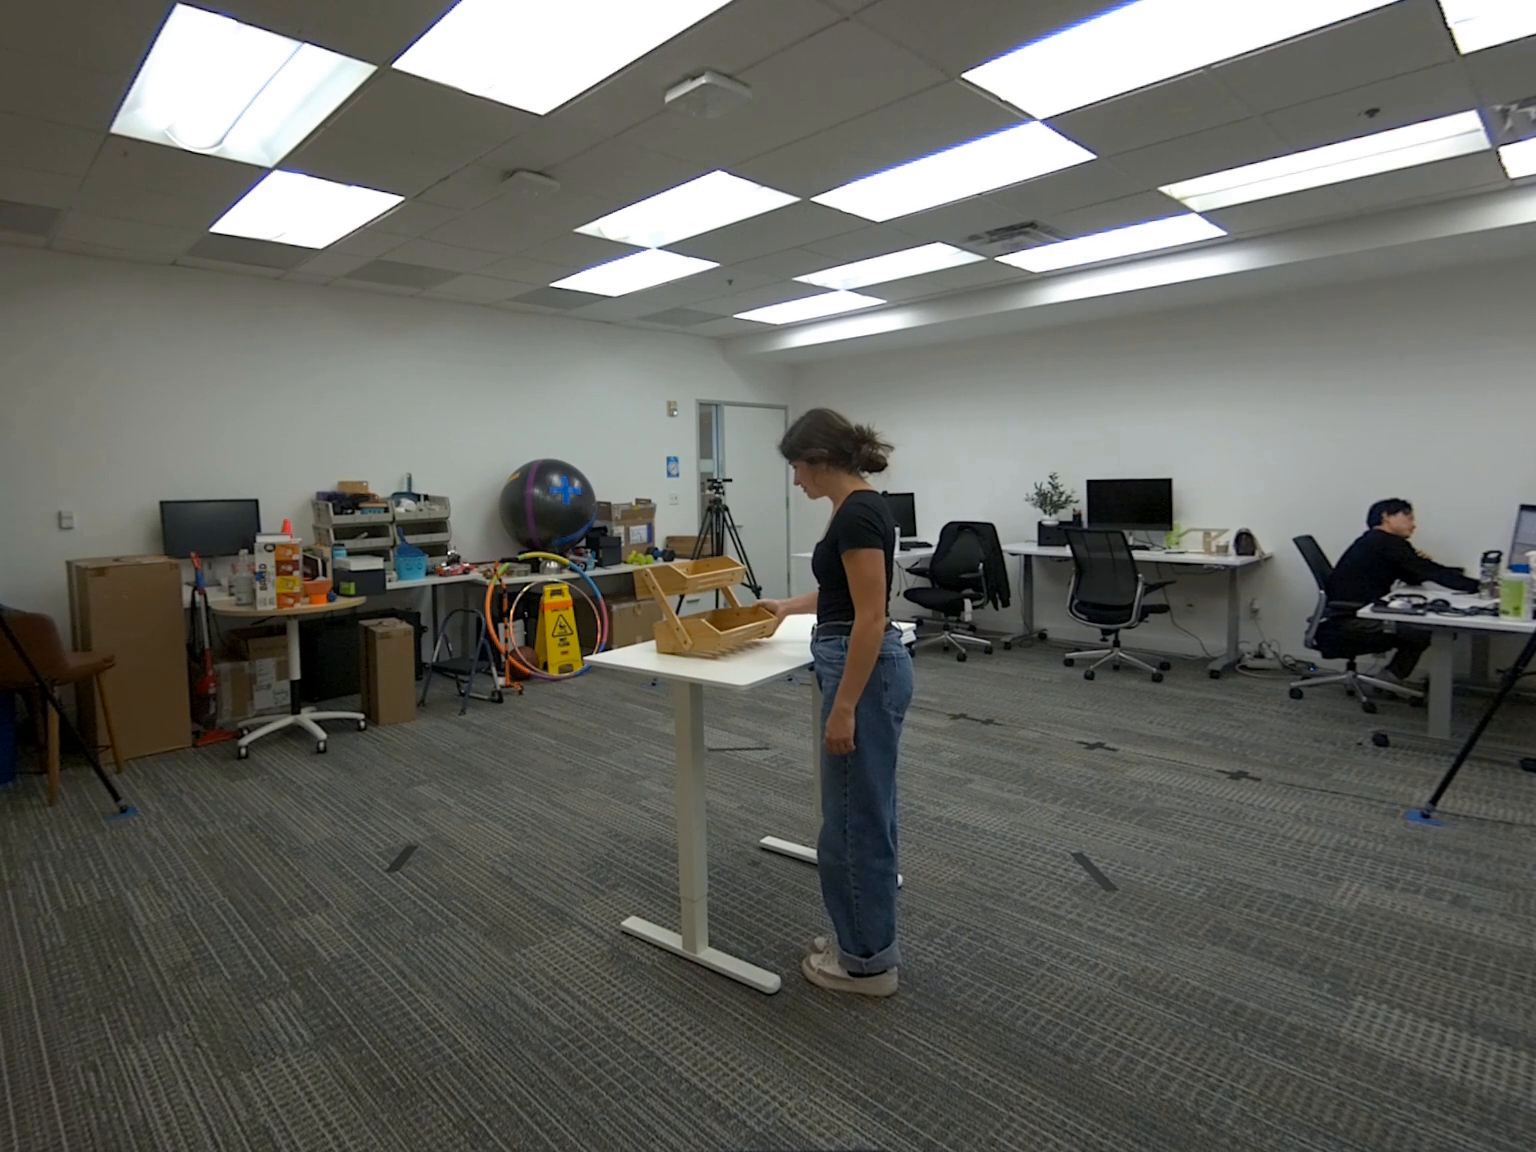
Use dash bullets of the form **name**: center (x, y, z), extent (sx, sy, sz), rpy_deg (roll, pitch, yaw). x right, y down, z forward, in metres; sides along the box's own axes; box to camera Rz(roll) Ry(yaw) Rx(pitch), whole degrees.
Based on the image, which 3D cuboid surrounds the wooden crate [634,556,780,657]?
- **wooden crate**: center (-0.183, 0.077, 2.638), extent (0.309, 0.273, 0.317), rpy_deg (-7, 1, 35)
